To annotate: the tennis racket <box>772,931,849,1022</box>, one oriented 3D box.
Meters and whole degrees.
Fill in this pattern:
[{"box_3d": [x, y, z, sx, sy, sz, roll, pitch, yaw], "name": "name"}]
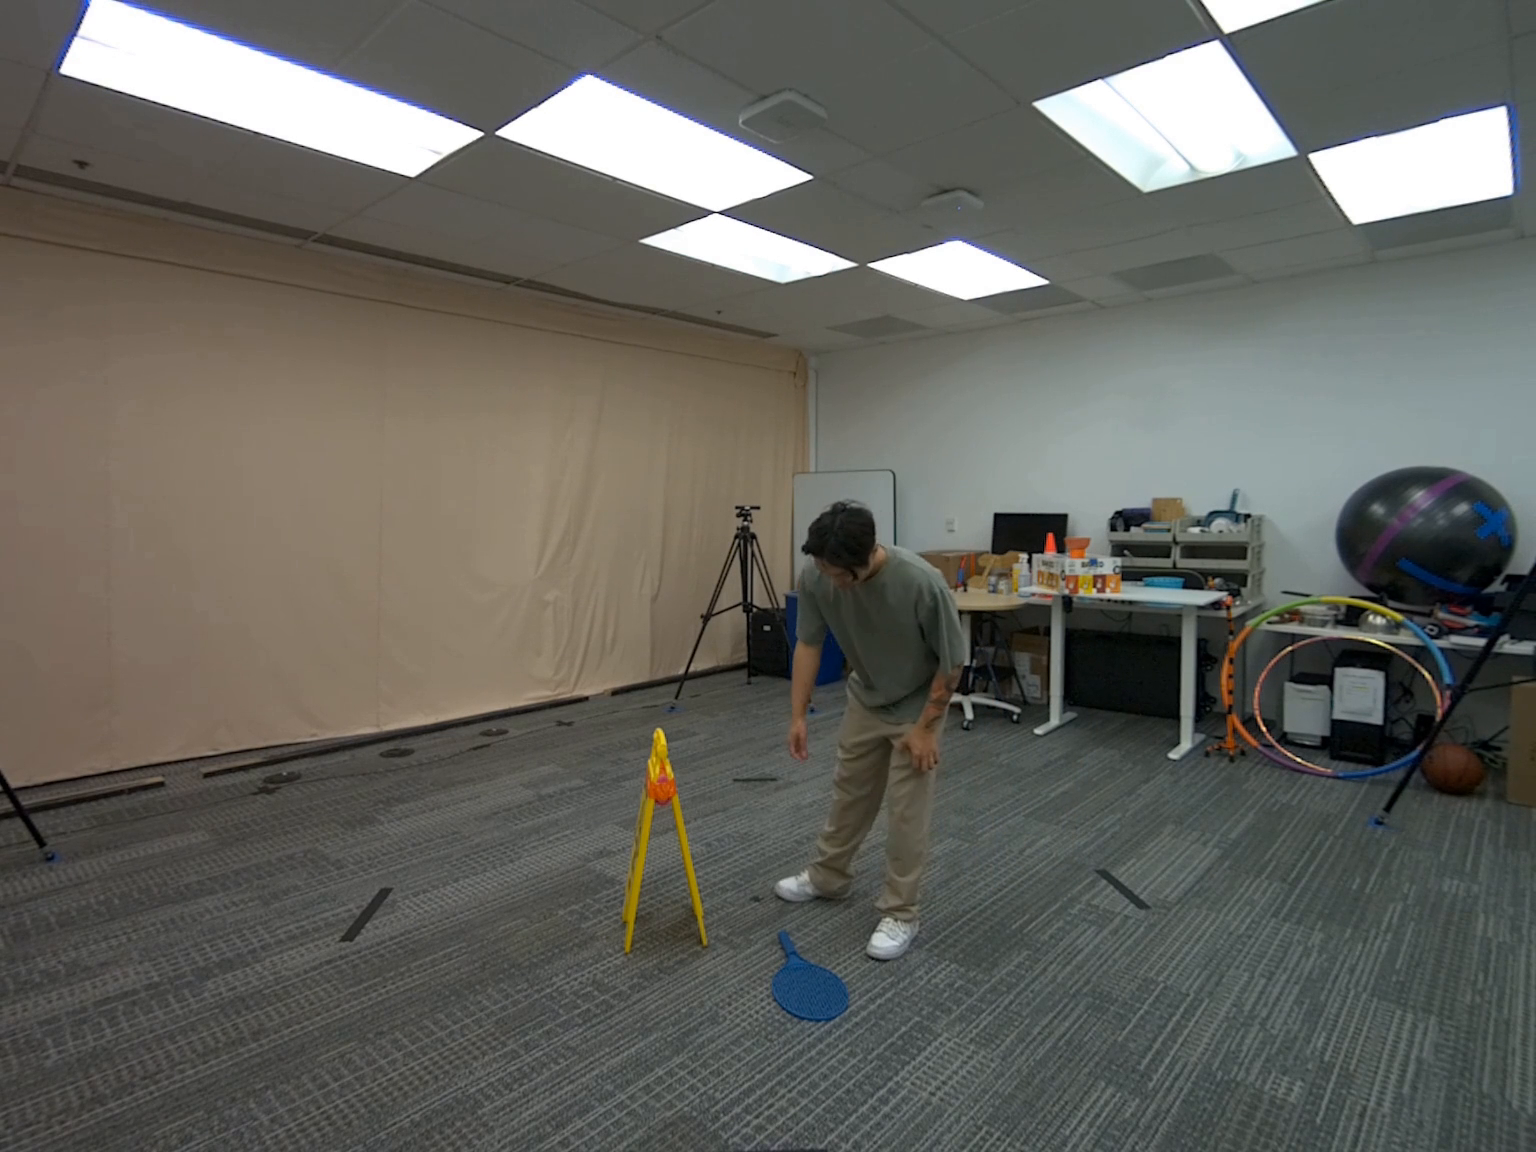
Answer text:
[{"box_3d": [0.103, 1.170, 2.484, 0.211, 0.031, 0.440, -1, 7, -13], "name": "tennis racket"}]
